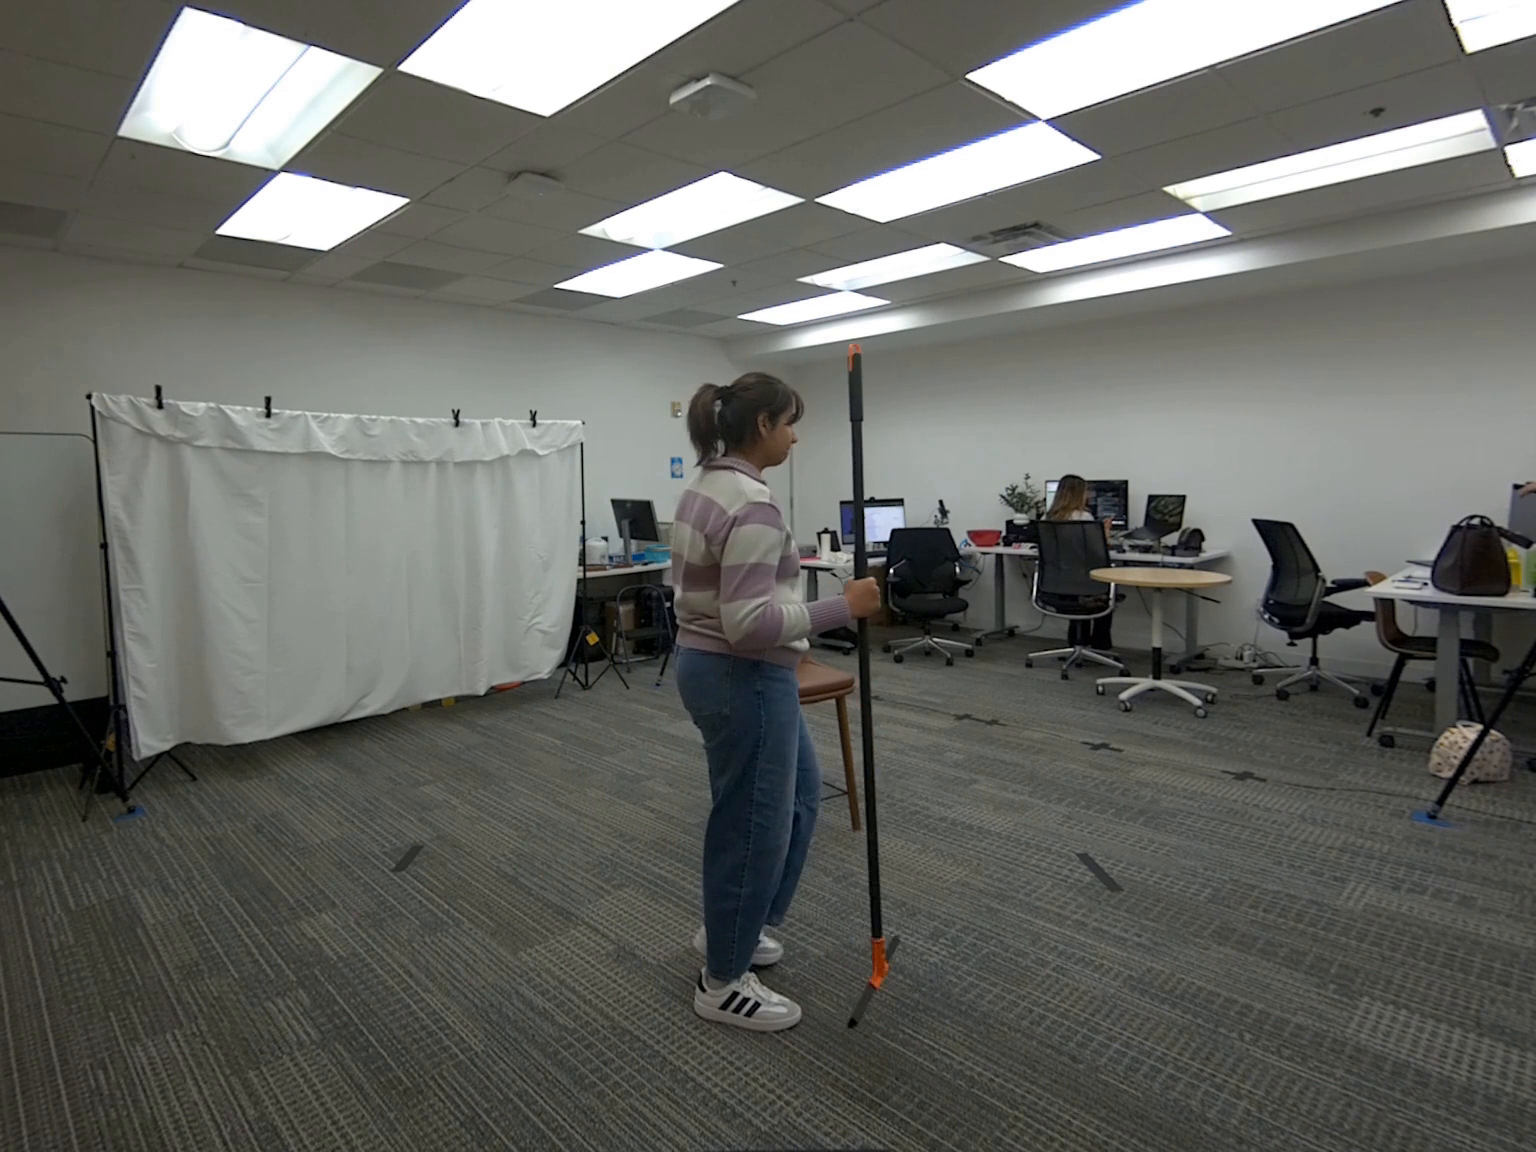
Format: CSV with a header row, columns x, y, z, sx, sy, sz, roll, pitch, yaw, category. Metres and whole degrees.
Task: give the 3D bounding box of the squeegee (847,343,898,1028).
x,y,z,sx,sy,sz,roll,pitch,yaw,category
0.230,0.206,2.058,0.054,1.542,0.427,-3,-3,25,squeegee
